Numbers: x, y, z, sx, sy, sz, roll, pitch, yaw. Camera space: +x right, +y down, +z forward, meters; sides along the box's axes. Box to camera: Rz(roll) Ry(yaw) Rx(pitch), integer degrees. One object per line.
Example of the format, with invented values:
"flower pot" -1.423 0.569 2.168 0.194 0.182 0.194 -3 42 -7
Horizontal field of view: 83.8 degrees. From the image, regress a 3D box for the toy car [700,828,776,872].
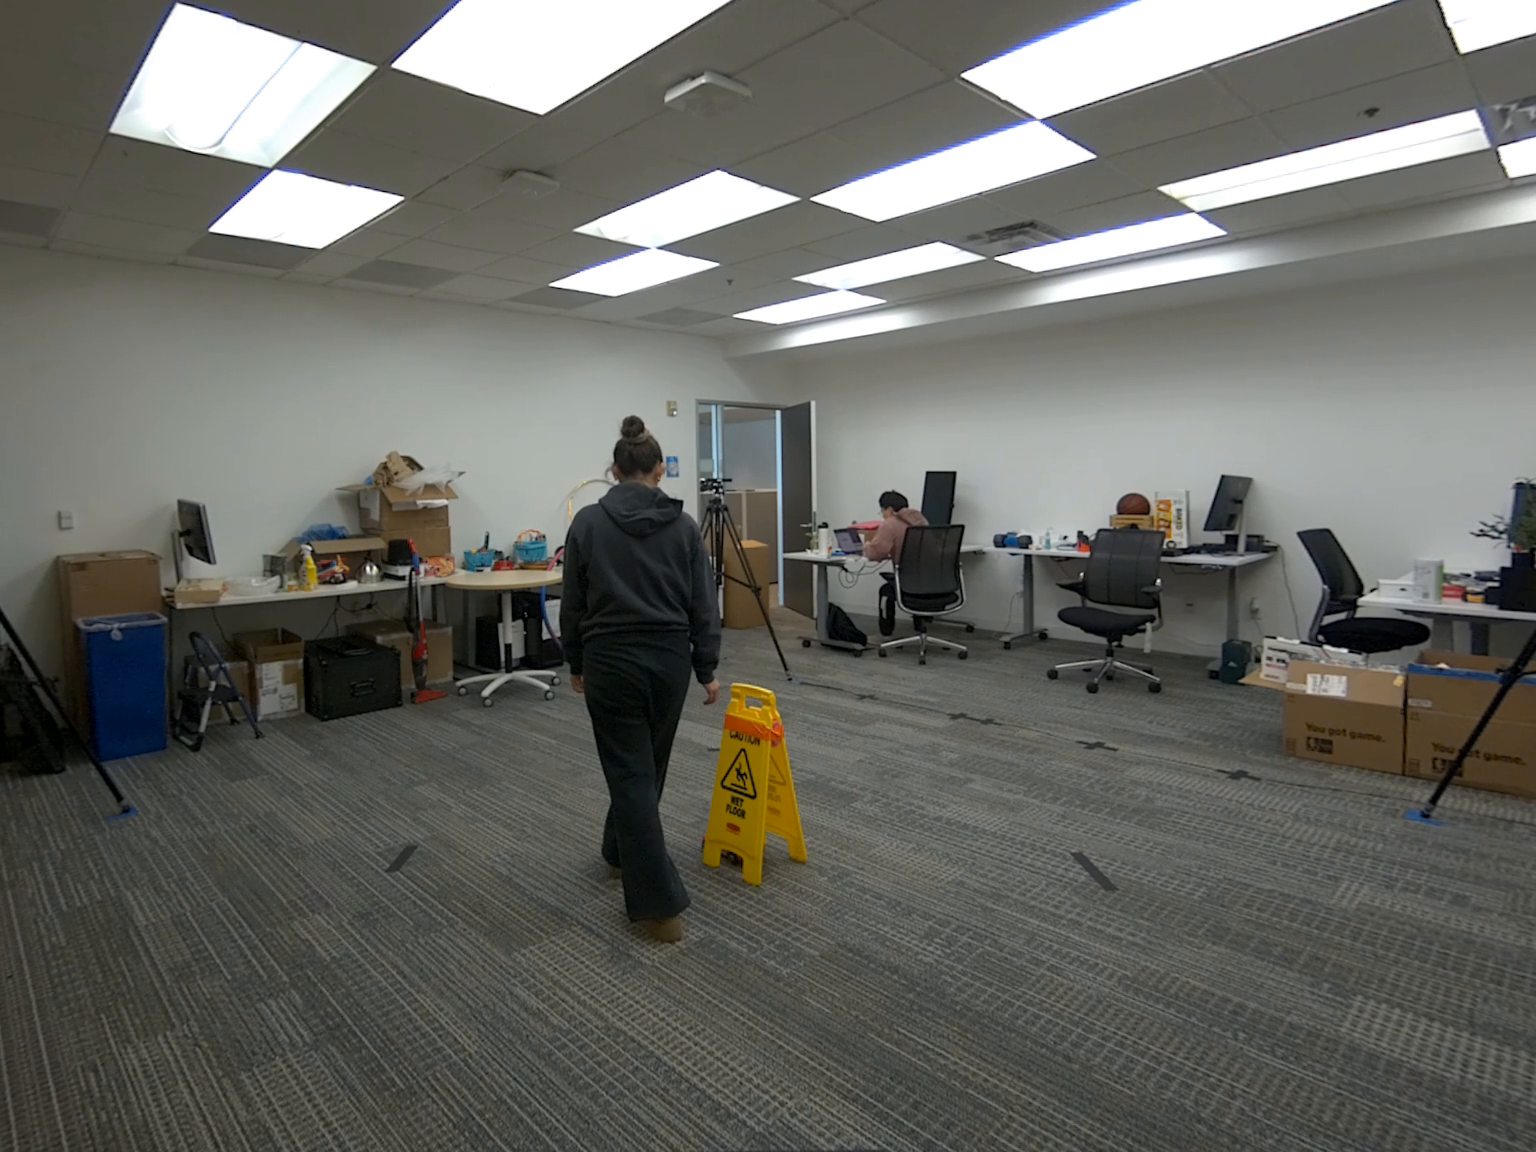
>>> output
"toy car" -0.115 1.009 3.176 0.127 0.083 0.261 -6 -1 -44
